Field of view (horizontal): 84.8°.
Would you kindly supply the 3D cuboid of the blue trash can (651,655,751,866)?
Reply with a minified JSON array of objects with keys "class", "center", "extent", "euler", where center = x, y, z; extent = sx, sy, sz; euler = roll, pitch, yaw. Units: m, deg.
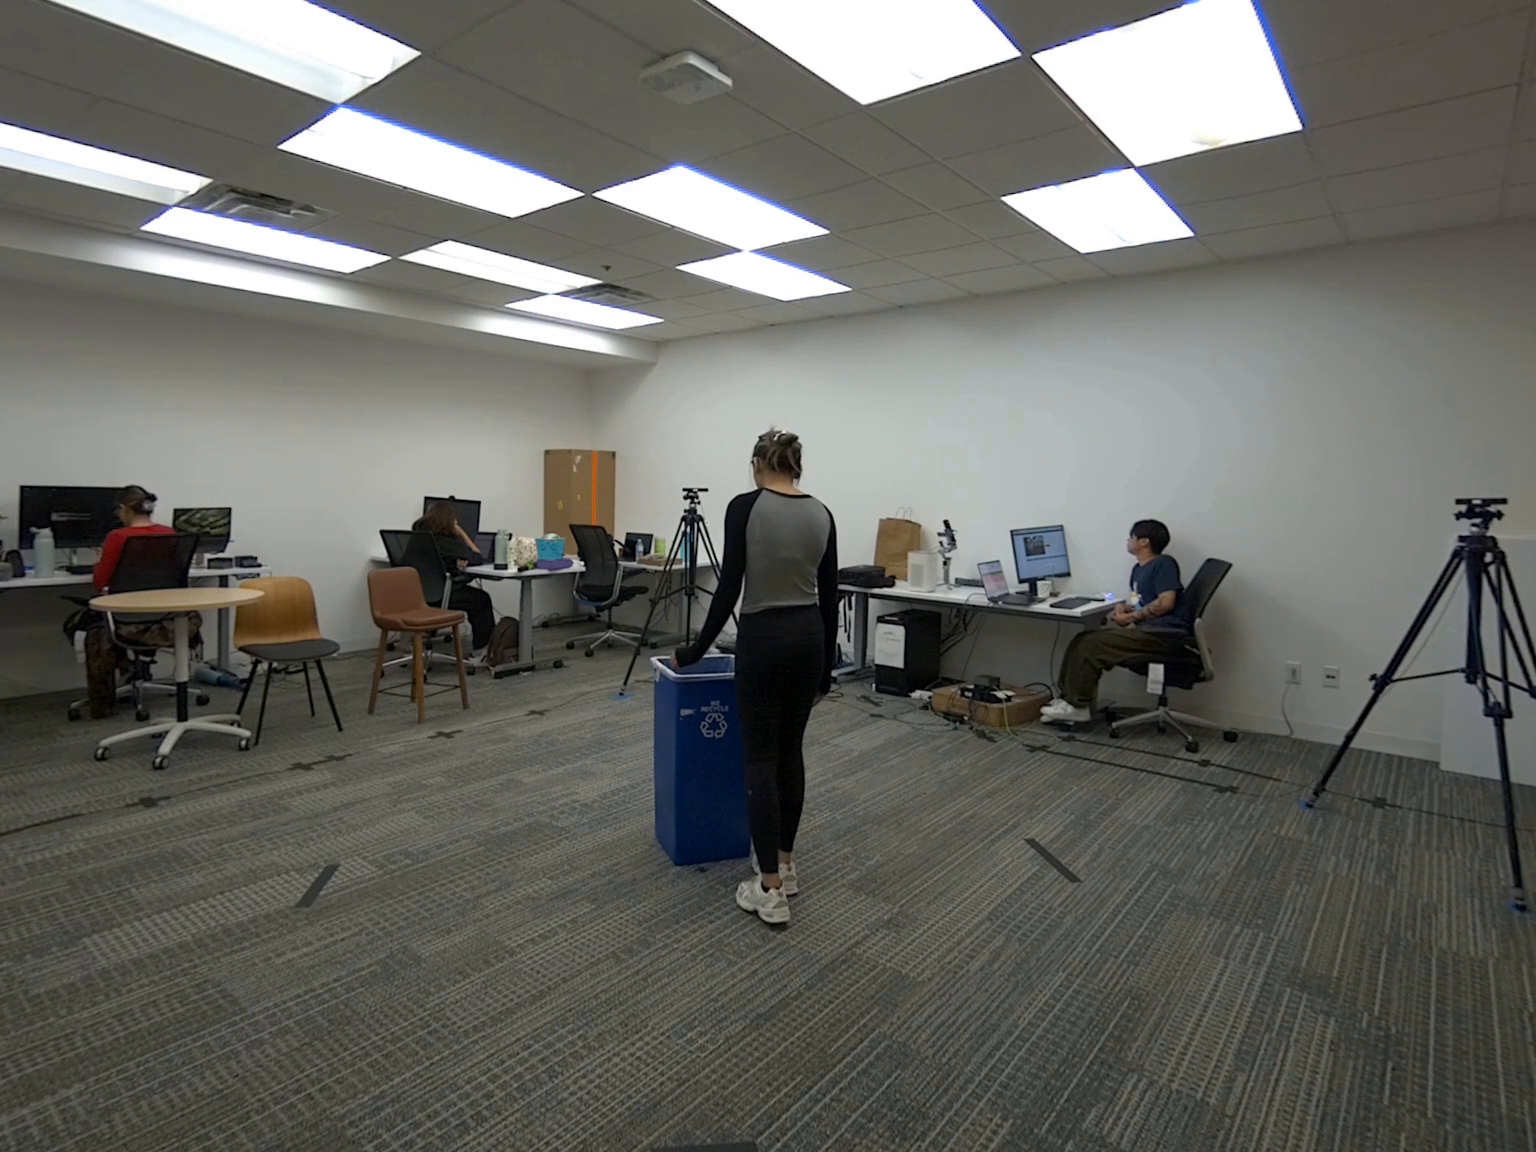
[{"class":"blue trash can","center":[-0.258,0.691,3.303],"extent":[0.366,0.711,0.387],"euler":[0,4,-21]}]
